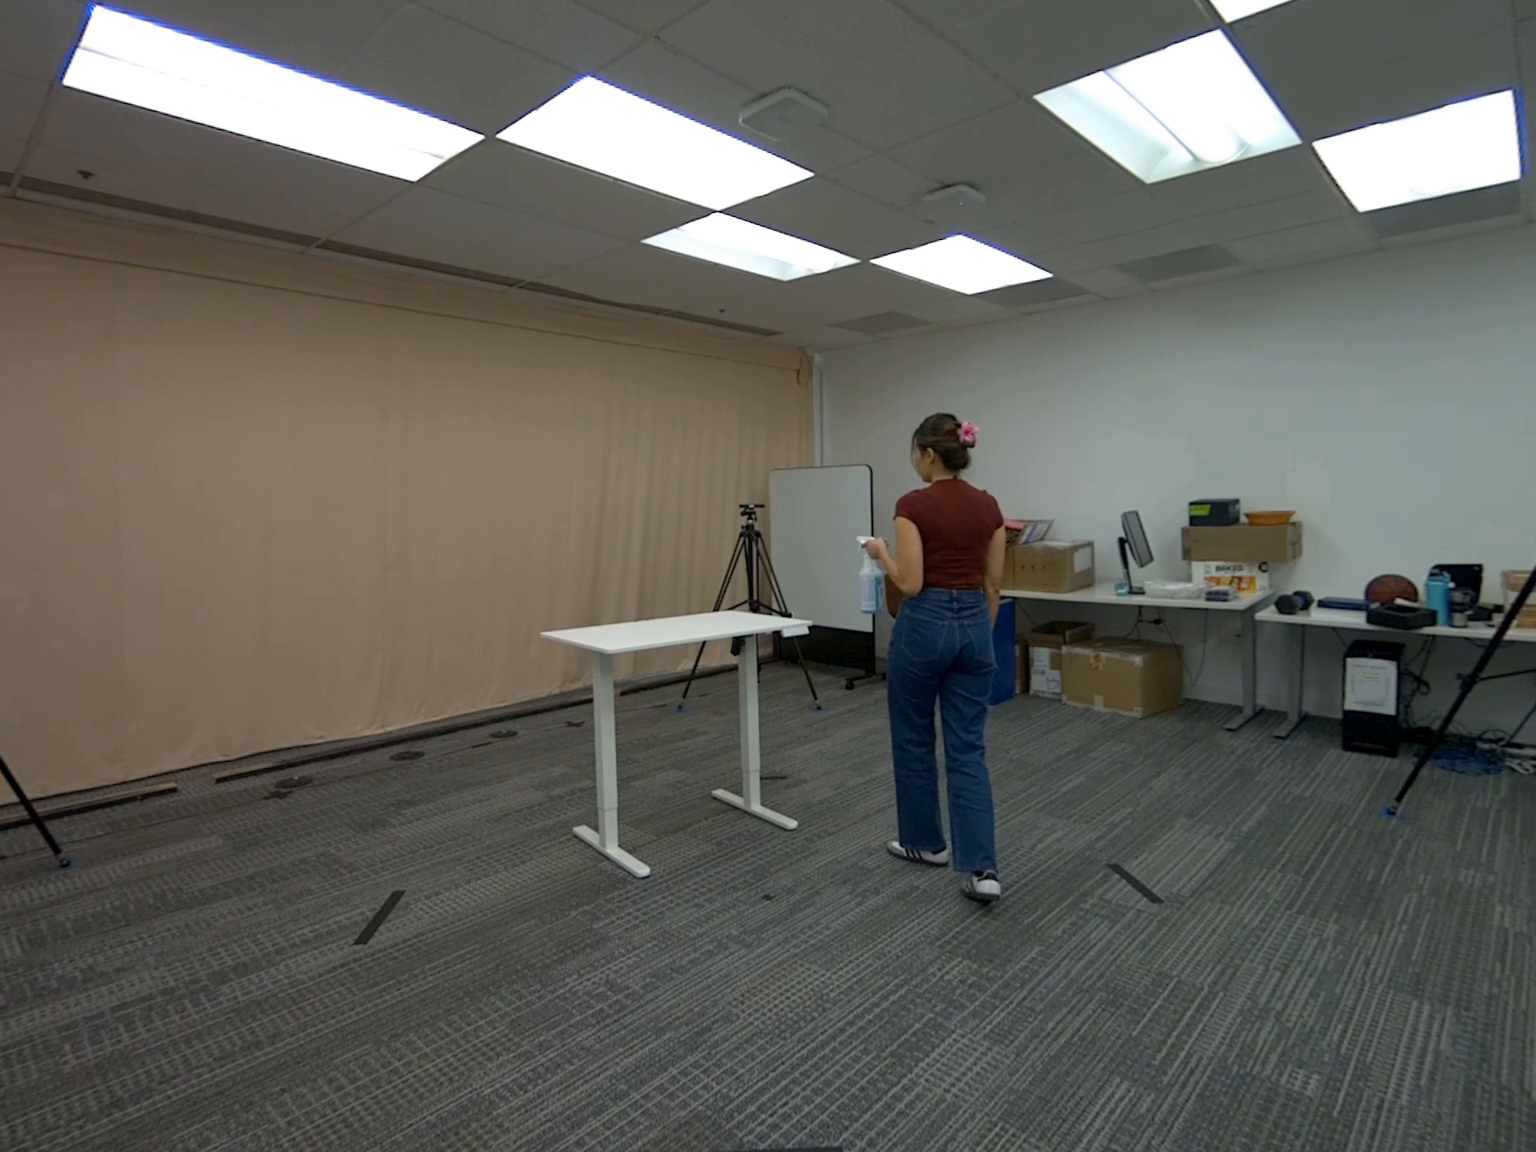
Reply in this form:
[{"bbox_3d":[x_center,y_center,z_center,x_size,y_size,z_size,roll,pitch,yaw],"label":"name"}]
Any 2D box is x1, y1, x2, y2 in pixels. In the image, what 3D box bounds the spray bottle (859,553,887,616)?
[{"bbox_3d":[0.410,-0.001,3.275,0.085,0.297,0.092,-3,3,-23],"label":"spray bottle"}]
